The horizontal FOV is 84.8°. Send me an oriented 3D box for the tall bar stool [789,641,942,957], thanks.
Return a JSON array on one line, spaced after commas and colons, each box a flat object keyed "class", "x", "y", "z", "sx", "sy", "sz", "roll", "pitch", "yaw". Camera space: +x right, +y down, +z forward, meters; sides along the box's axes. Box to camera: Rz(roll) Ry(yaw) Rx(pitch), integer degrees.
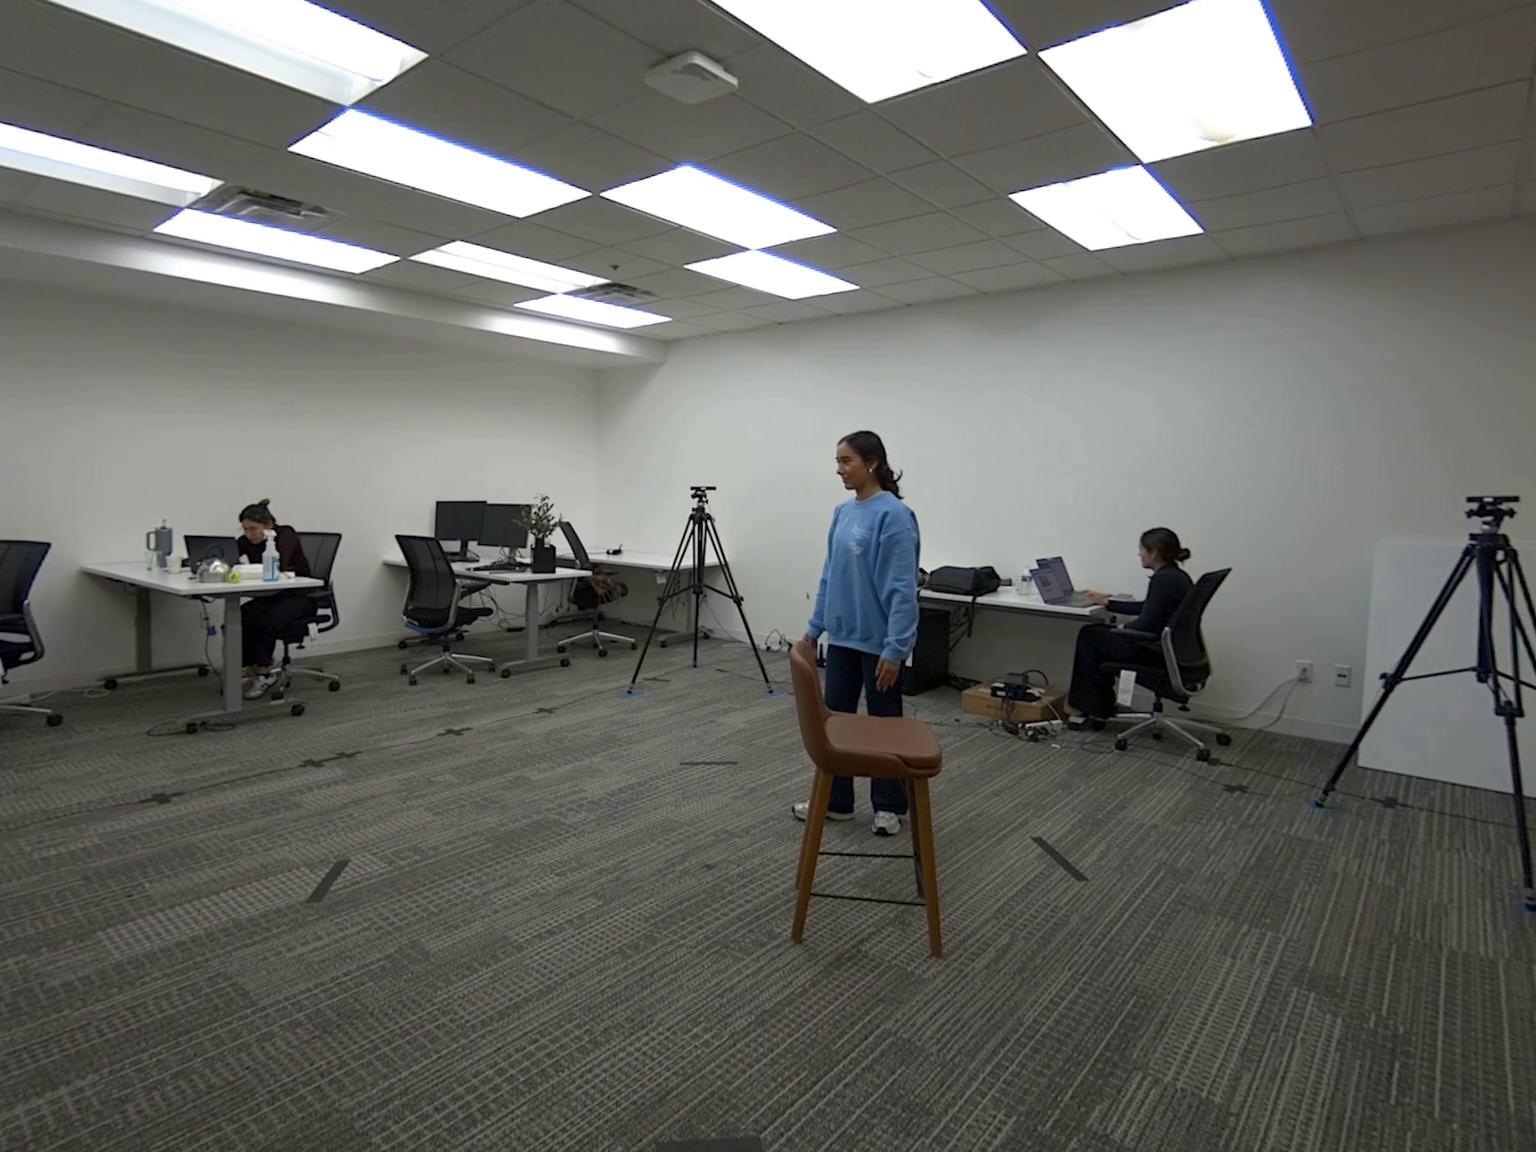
[{"class": "tall bar stool", "x": 0.308, "y": 0.678, "z": 2.747, "sx": 0.471, "sy": 0.888, "sz": 0.454, "roll": 1, "pitch": 3, "yaw": 6}]
